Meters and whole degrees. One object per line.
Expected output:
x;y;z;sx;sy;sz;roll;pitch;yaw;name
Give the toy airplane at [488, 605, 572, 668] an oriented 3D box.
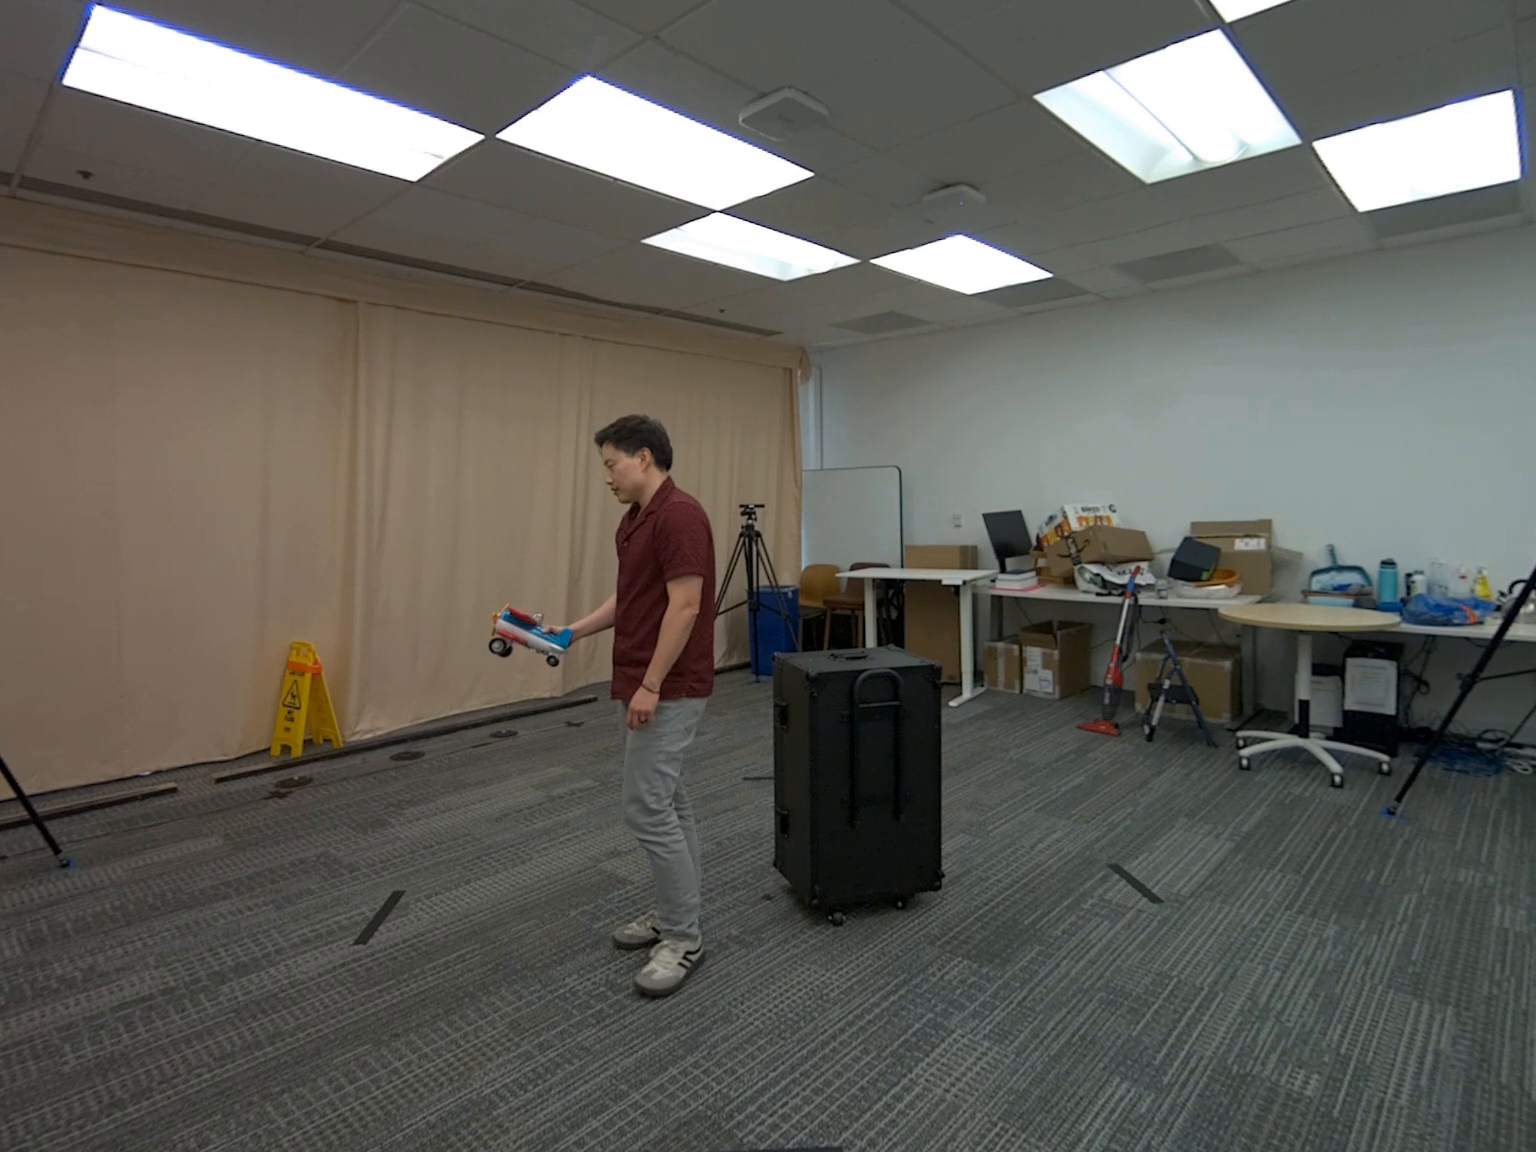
-0.778;0.207;2.747;0.252;0.157;0.256;17;-13;-24;toy airplane
